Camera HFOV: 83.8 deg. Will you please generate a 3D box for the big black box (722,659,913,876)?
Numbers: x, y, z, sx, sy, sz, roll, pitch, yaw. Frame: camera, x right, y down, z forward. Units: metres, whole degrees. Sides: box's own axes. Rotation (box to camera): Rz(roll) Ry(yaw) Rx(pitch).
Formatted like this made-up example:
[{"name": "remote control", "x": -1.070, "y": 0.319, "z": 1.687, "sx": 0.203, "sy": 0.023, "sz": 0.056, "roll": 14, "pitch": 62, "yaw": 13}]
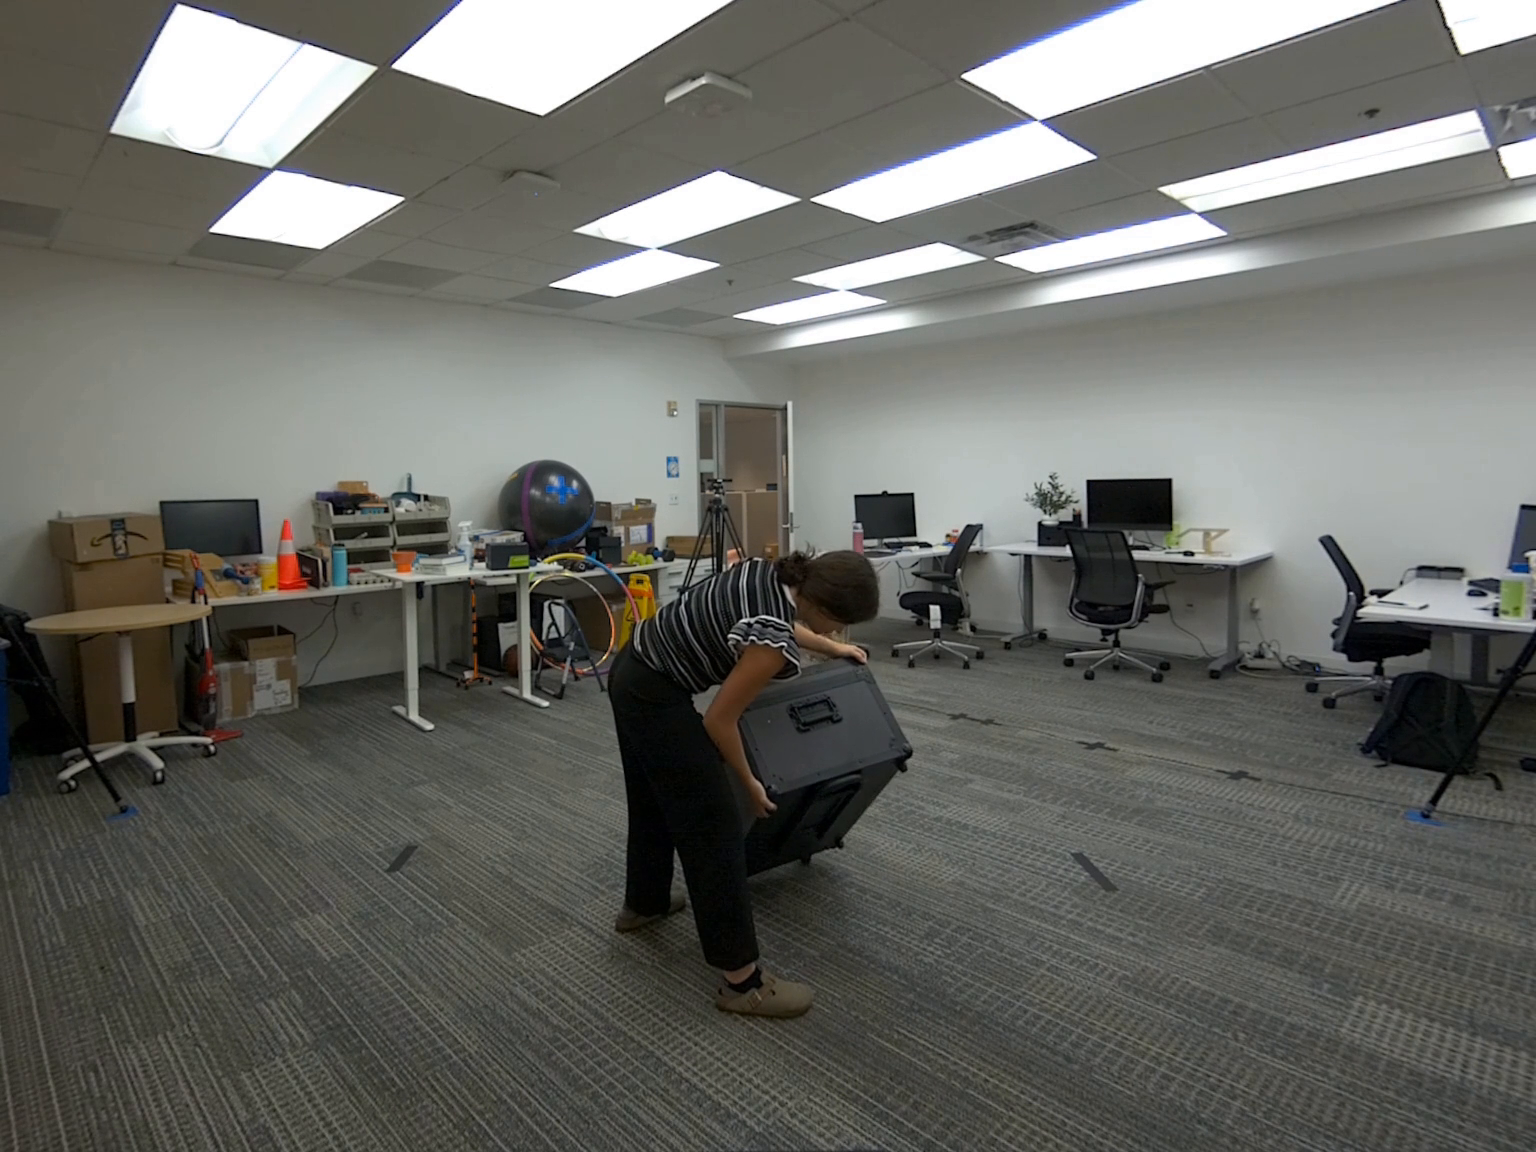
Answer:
[{"name": "big black box", "x": 0.061, "y": 0.688, "z": 2.836, "sx": 0.512, "sy": 0.409, "sz": 0.848, "roll": -11, "pitch": -33, "yaw": -24}]
